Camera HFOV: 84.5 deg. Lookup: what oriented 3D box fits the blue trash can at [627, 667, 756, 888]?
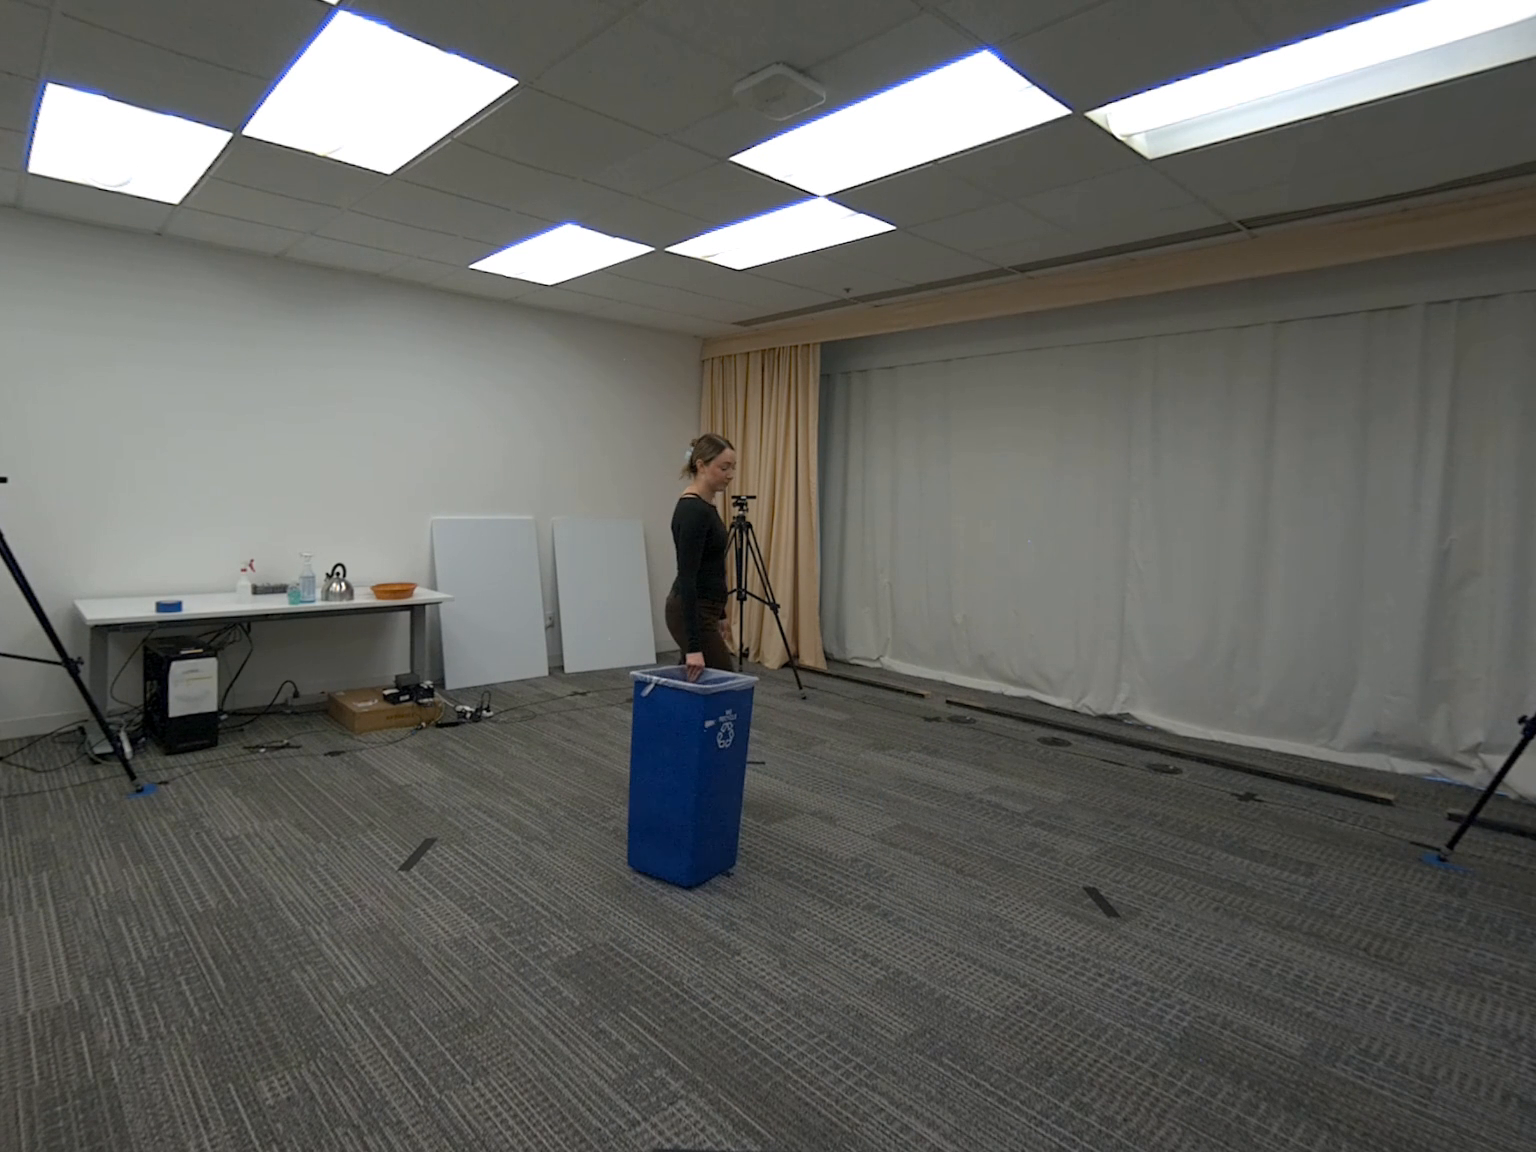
[{"bbox_3d":[-0.299,0.726,3.161,0.387,0.713,0.365,4,1,34],"label":"blue trash can"}]
